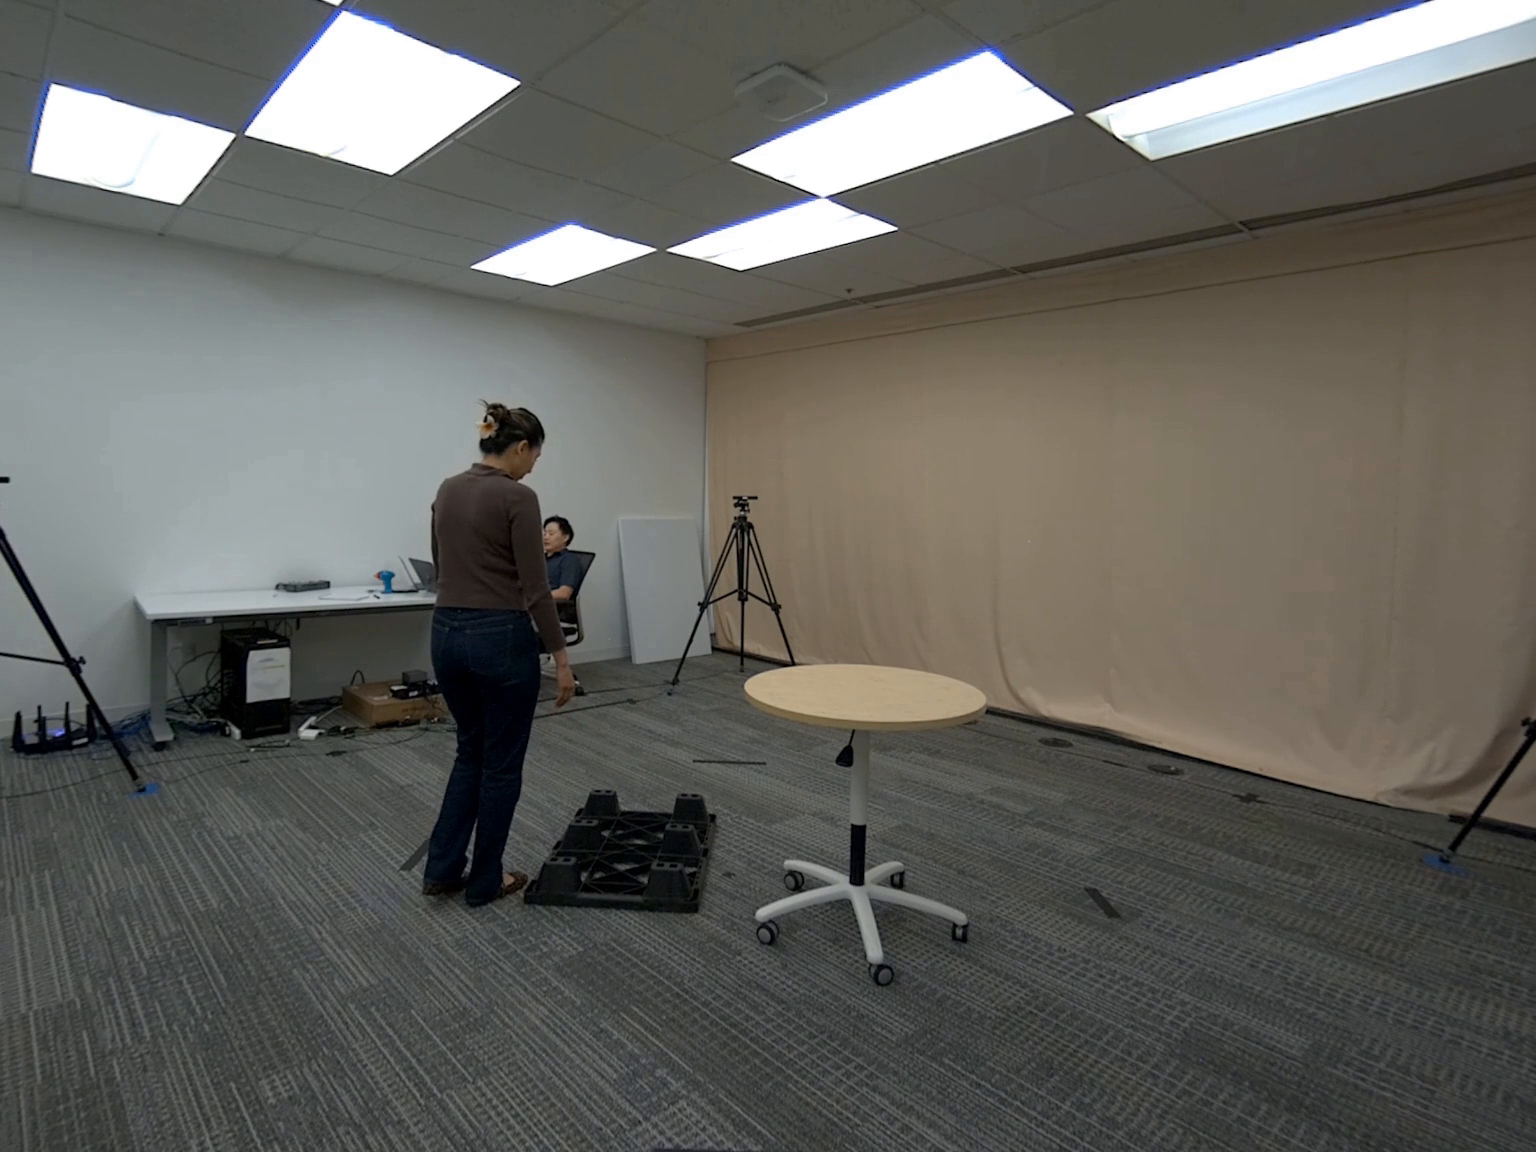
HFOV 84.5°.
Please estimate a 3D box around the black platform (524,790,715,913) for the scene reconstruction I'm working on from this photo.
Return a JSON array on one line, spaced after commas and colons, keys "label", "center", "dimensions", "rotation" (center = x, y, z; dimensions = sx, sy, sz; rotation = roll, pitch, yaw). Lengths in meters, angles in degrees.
[{"label": "black platform", "center": [-0.531, 1.016, 3.223], "dimensions": [0.606, 0.143, 0.806], "rotation": [2, 5, 1]}]
